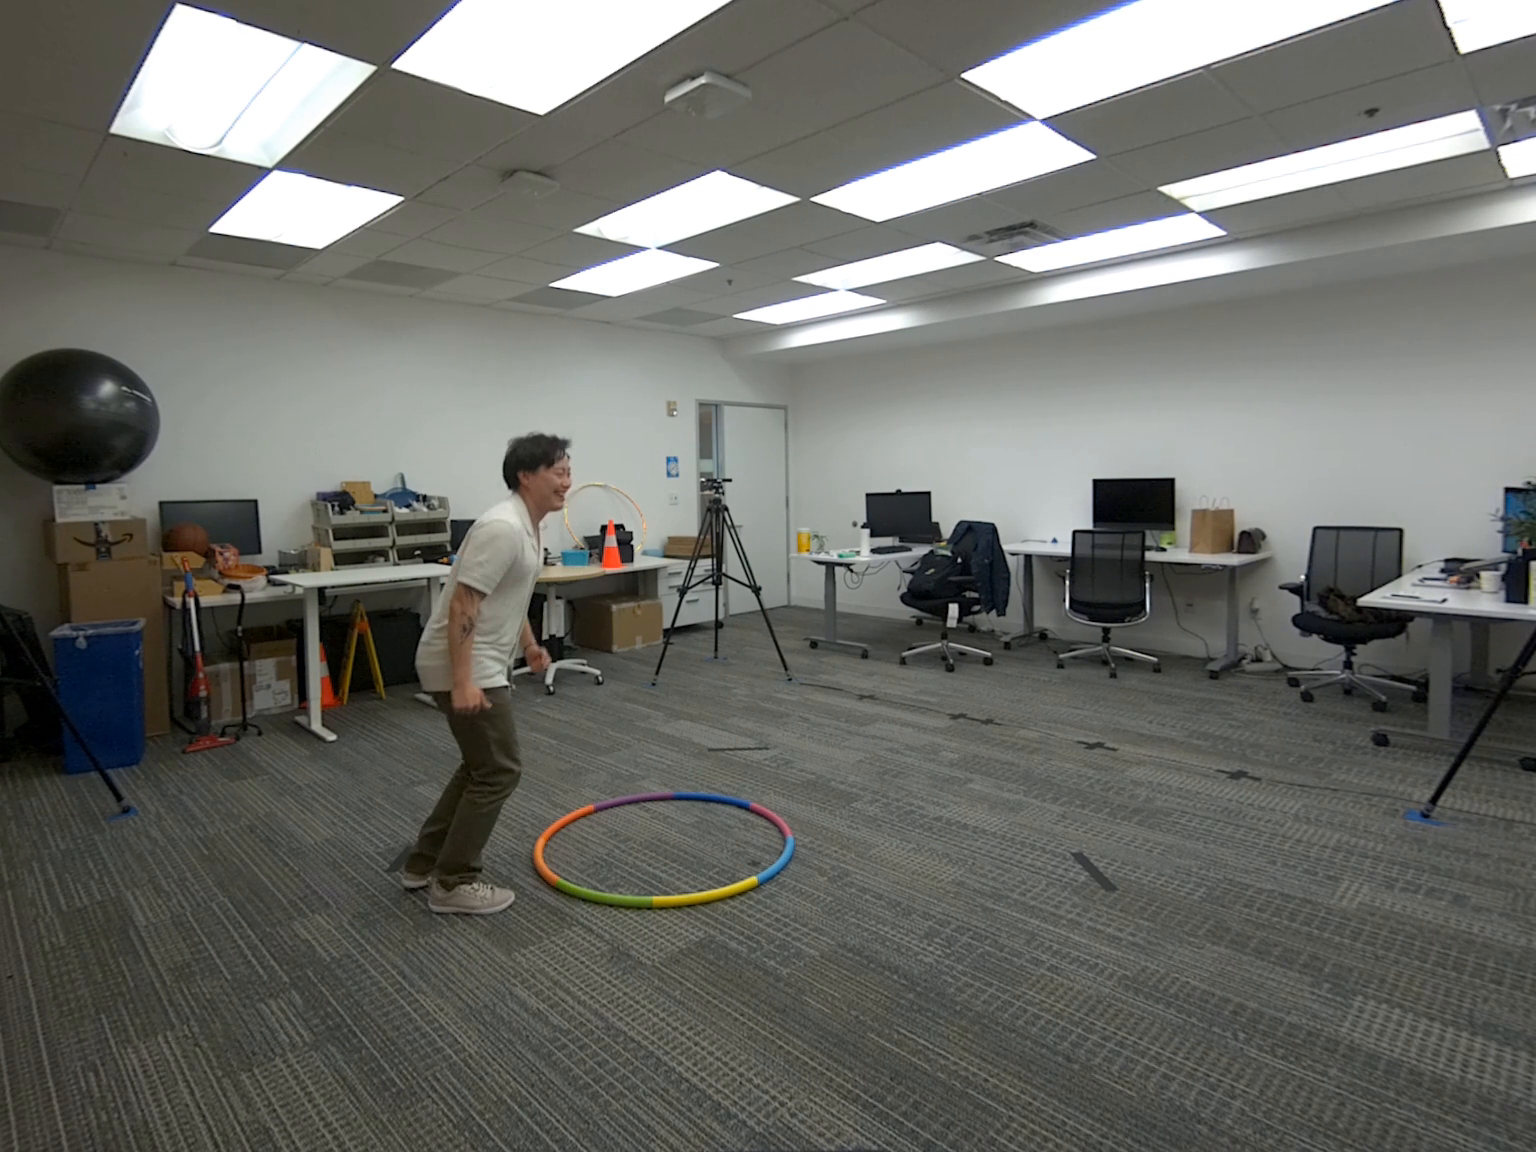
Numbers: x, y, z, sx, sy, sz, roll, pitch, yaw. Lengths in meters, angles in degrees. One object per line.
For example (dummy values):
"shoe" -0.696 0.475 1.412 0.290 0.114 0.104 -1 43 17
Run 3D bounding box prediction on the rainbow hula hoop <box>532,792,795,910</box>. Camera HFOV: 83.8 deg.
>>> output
"rainbow hula hoop" -0.387 1.002 3.270 0.978 0.035 0.984 -1 6 -2
